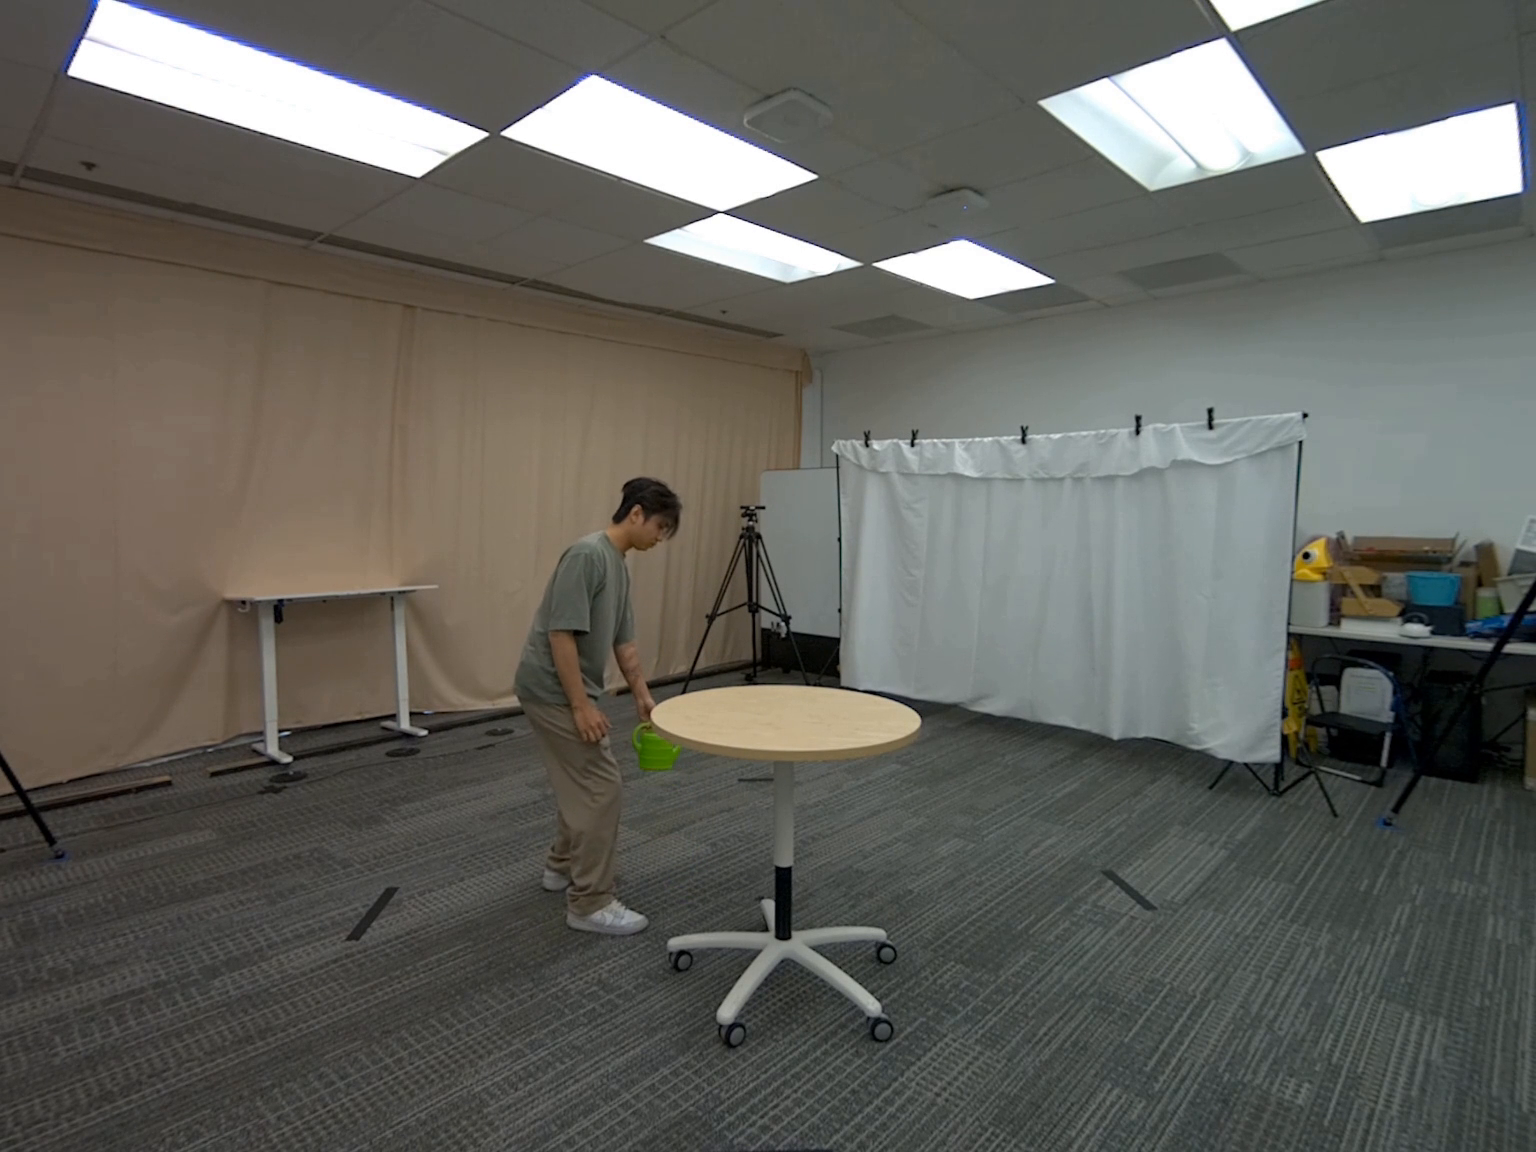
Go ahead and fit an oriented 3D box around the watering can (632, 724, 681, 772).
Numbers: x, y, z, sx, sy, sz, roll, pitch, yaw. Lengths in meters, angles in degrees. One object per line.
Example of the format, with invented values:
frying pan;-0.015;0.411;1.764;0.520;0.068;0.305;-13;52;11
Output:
watering can;-0.380;0.646;3.199;0.277;0.176;0.098;4;2;-5
